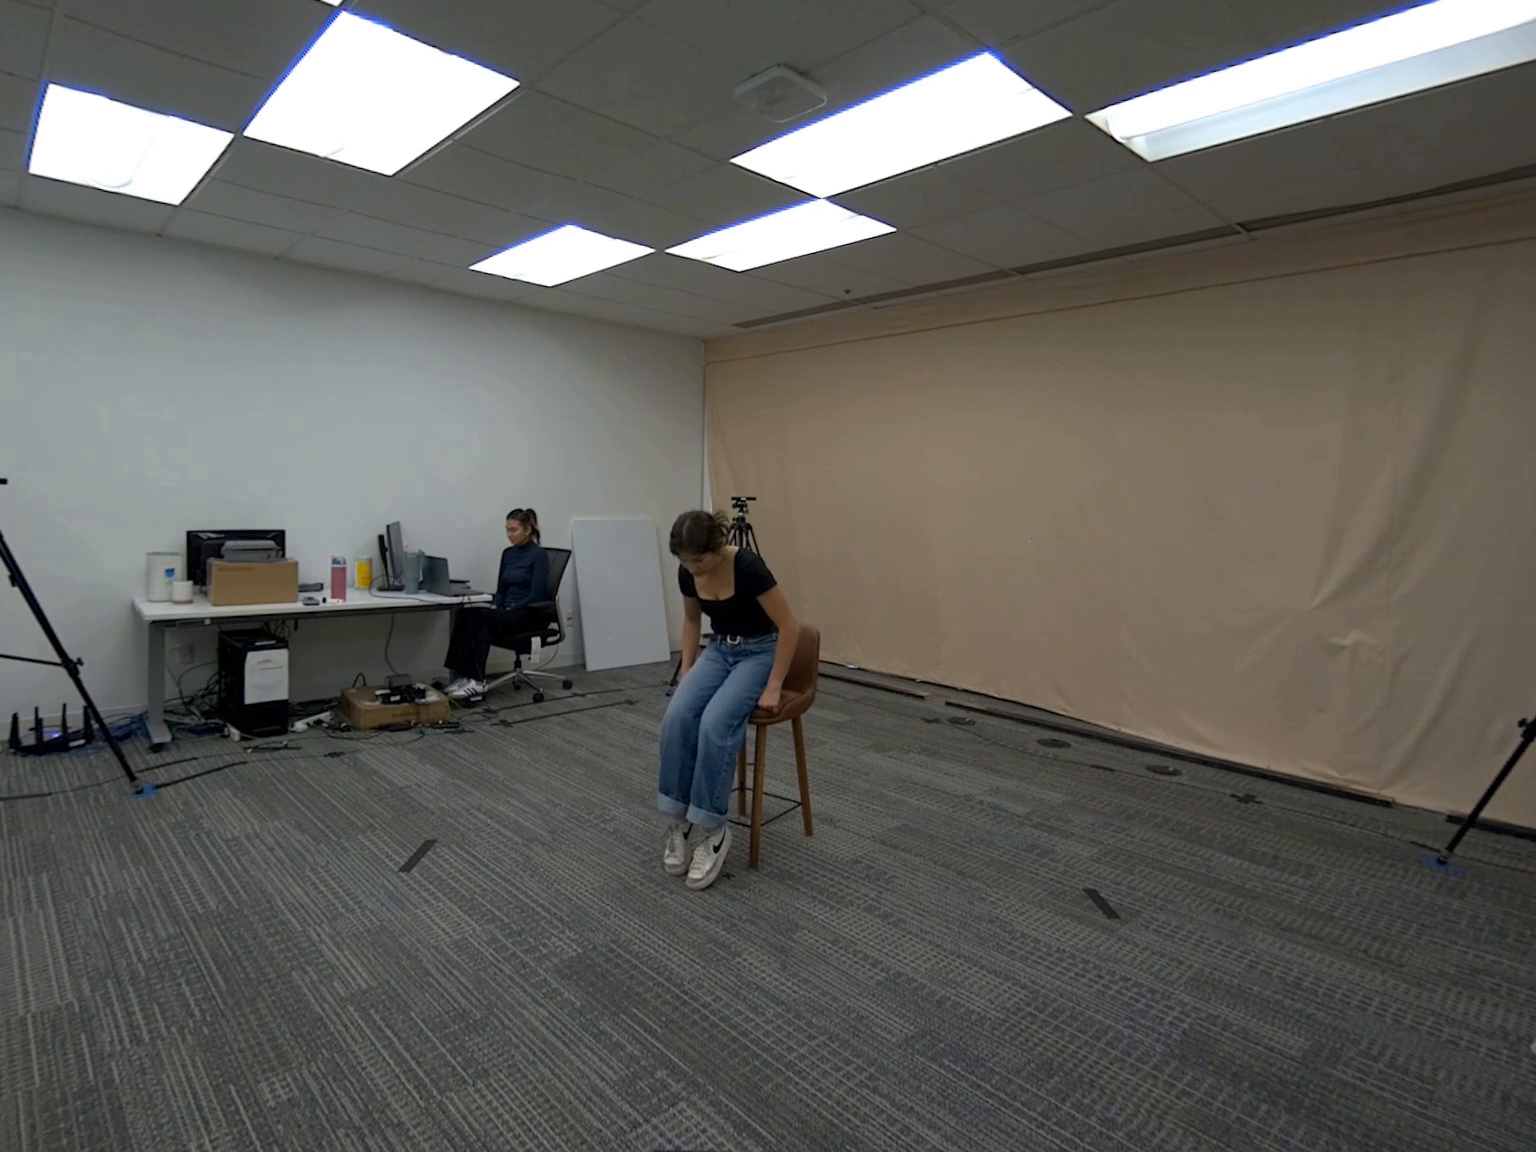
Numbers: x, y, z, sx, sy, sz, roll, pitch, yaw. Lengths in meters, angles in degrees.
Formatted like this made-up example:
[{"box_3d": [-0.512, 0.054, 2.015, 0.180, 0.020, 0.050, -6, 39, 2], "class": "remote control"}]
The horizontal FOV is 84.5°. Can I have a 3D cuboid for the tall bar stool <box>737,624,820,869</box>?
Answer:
[{"box_3d": [-0.077, 0.645, 3.433, 0.467, 0.888, 0.457, 4, 2, 36], "class": "tall bar stool"}]
